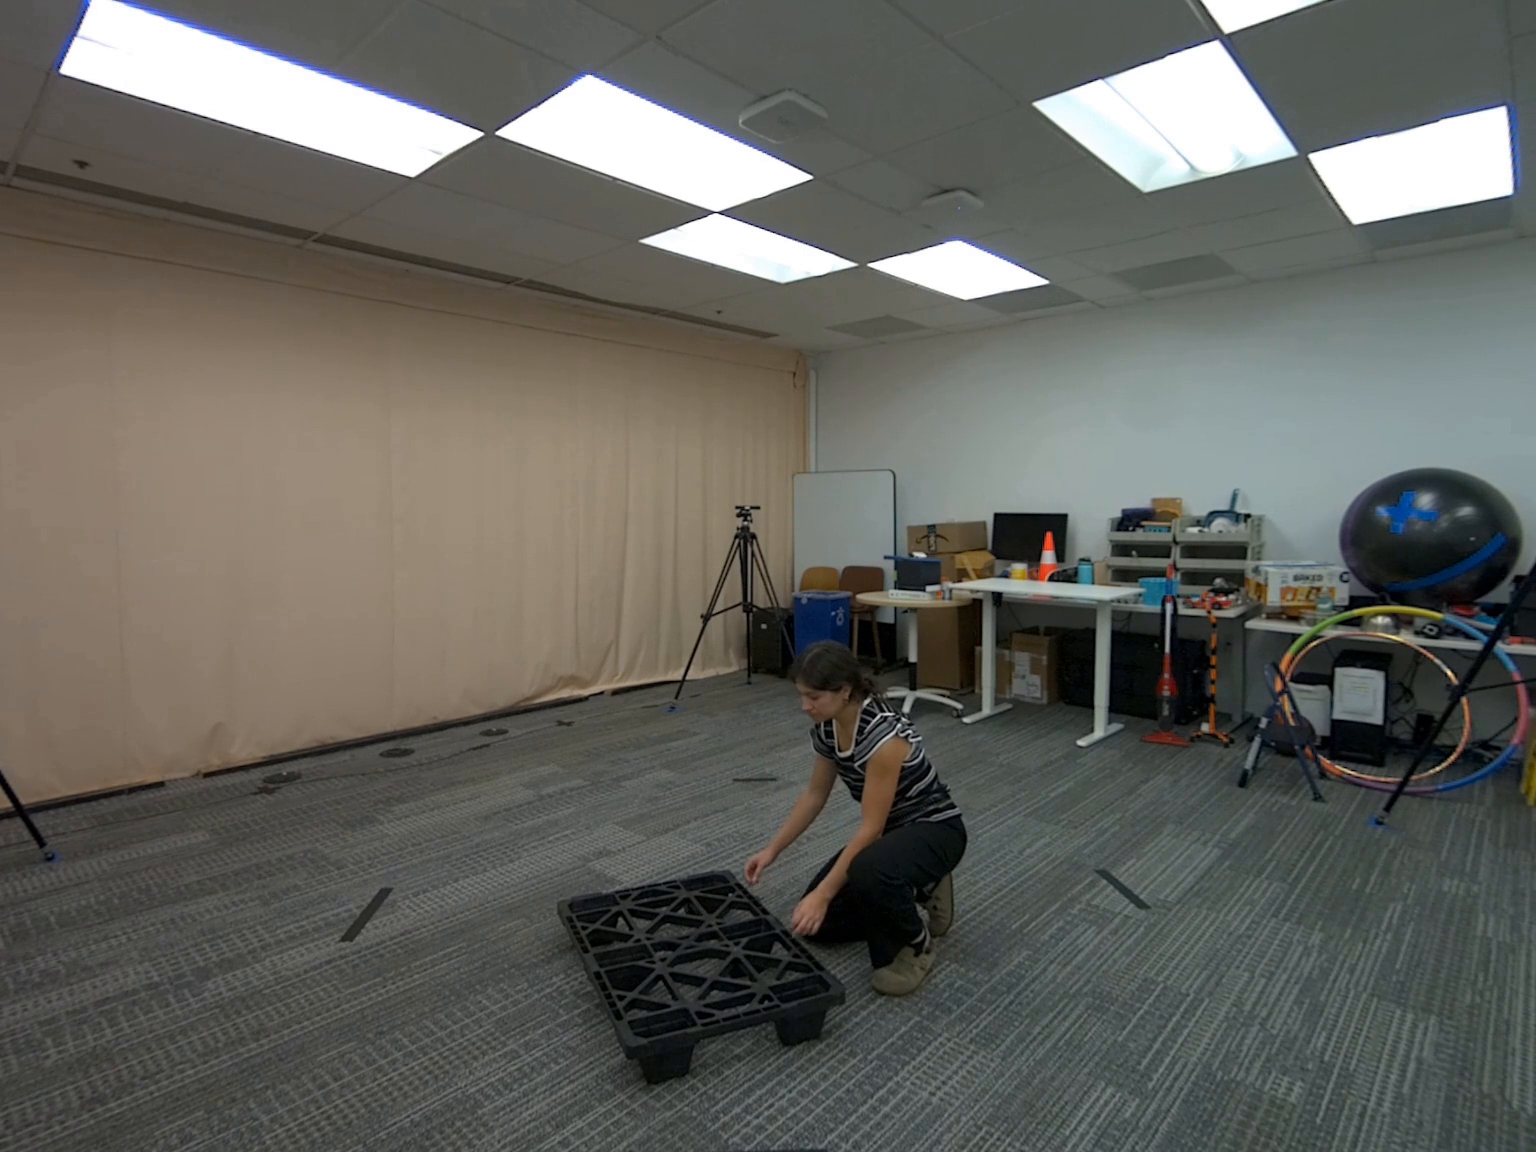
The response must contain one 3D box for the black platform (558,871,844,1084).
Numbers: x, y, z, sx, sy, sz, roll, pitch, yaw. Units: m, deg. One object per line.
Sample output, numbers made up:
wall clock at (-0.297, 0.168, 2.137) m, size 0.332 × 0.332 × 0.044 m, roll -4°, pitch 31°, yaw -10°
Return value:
black platform at (-0.235, 1.129, 2.439) m, size 0.591 × 0.143 × 0.826 m, roll -3°, pitch 5°, yaw -24°
